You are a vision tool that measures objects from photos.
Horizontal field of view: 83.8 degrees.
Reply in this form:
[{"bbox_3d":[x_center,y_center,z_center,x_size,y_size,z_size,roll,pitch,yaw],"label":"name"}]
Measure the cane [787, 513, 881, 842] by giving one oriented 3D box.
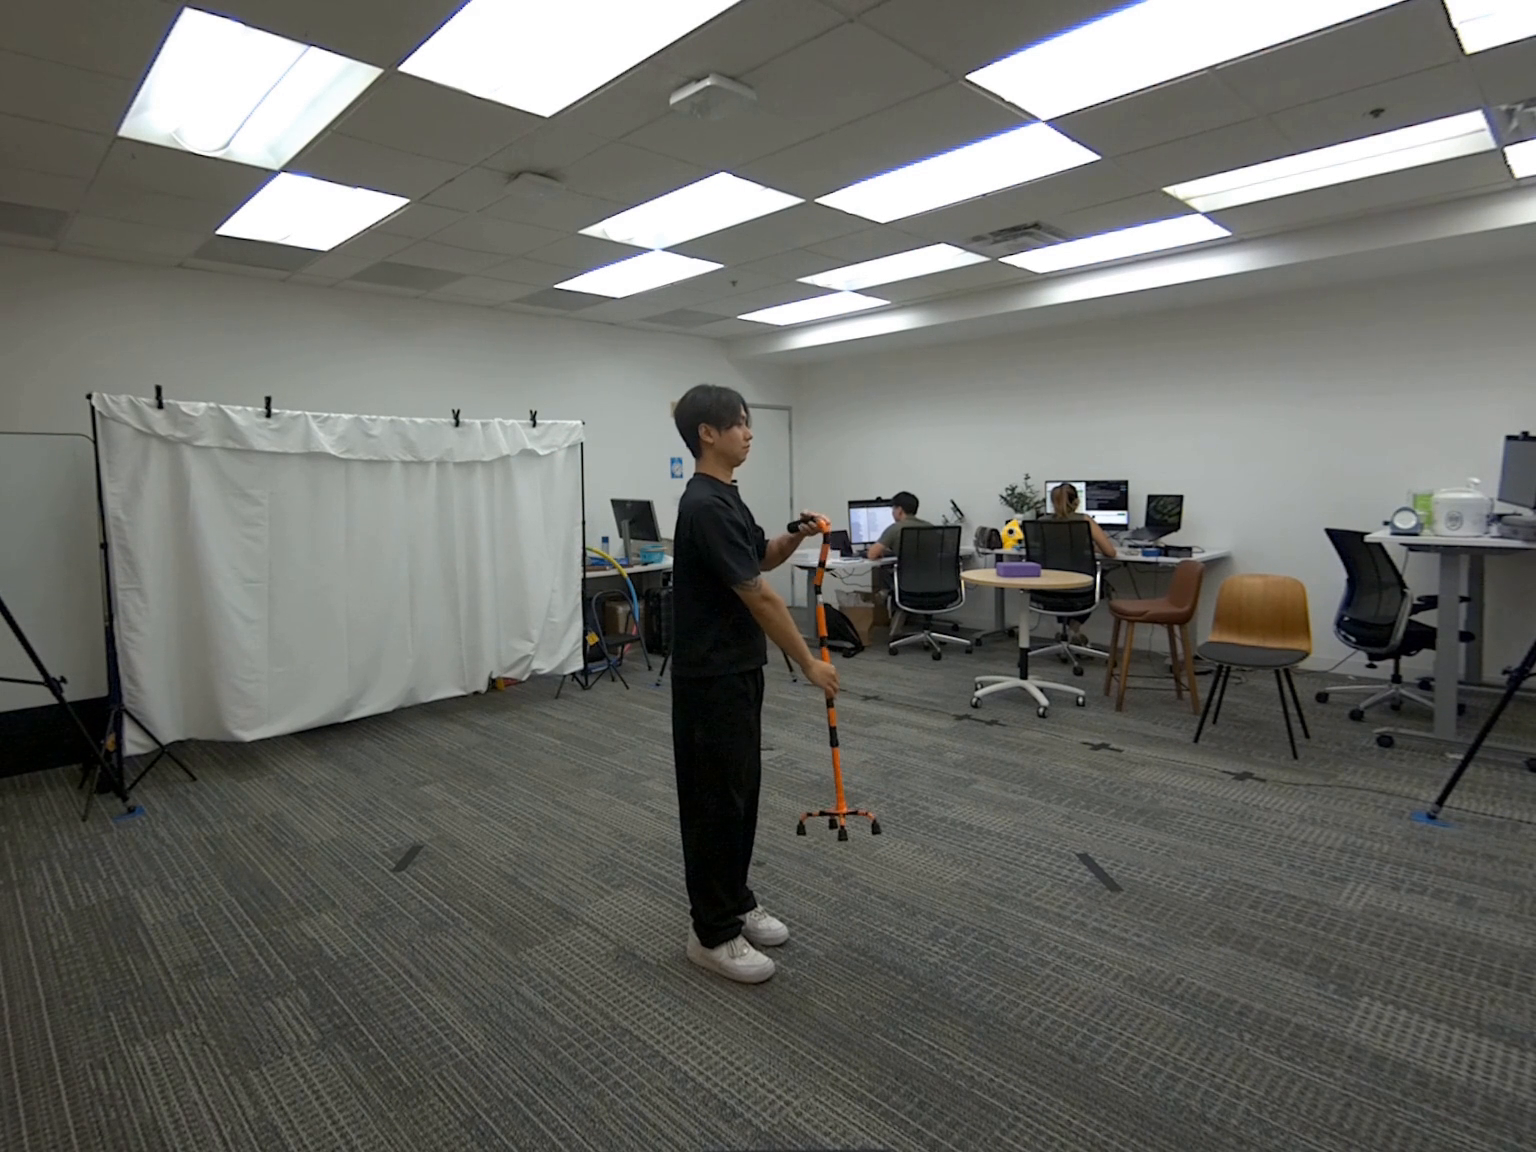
[{"bbox_3d":[0.163,0.274,2.487,0.147,0.916,0.210,2,-11,-36],"label":"cane"}]
